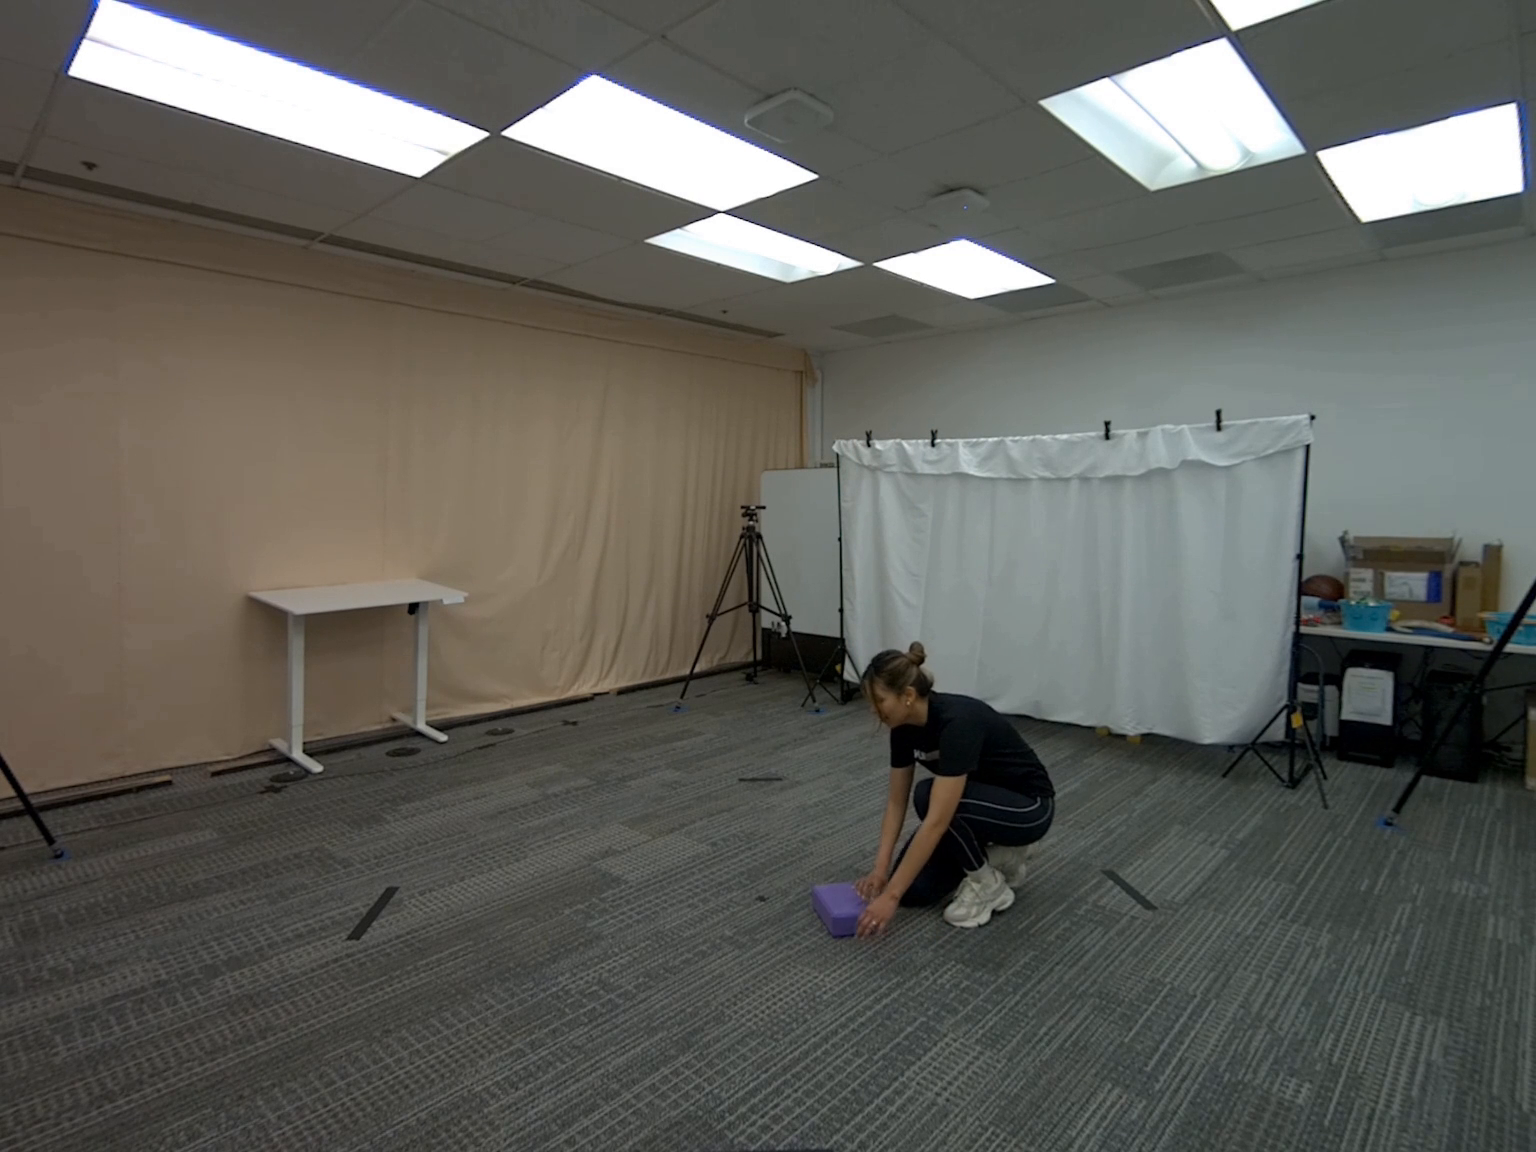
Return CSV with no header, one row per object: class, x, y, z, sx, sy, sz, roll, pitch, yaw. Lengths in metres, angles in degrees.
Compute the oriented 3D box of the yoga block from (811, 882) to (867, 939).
yoga block,0.257,1.118,2.830,0.147,0.076,0.233,-2,5,-13
